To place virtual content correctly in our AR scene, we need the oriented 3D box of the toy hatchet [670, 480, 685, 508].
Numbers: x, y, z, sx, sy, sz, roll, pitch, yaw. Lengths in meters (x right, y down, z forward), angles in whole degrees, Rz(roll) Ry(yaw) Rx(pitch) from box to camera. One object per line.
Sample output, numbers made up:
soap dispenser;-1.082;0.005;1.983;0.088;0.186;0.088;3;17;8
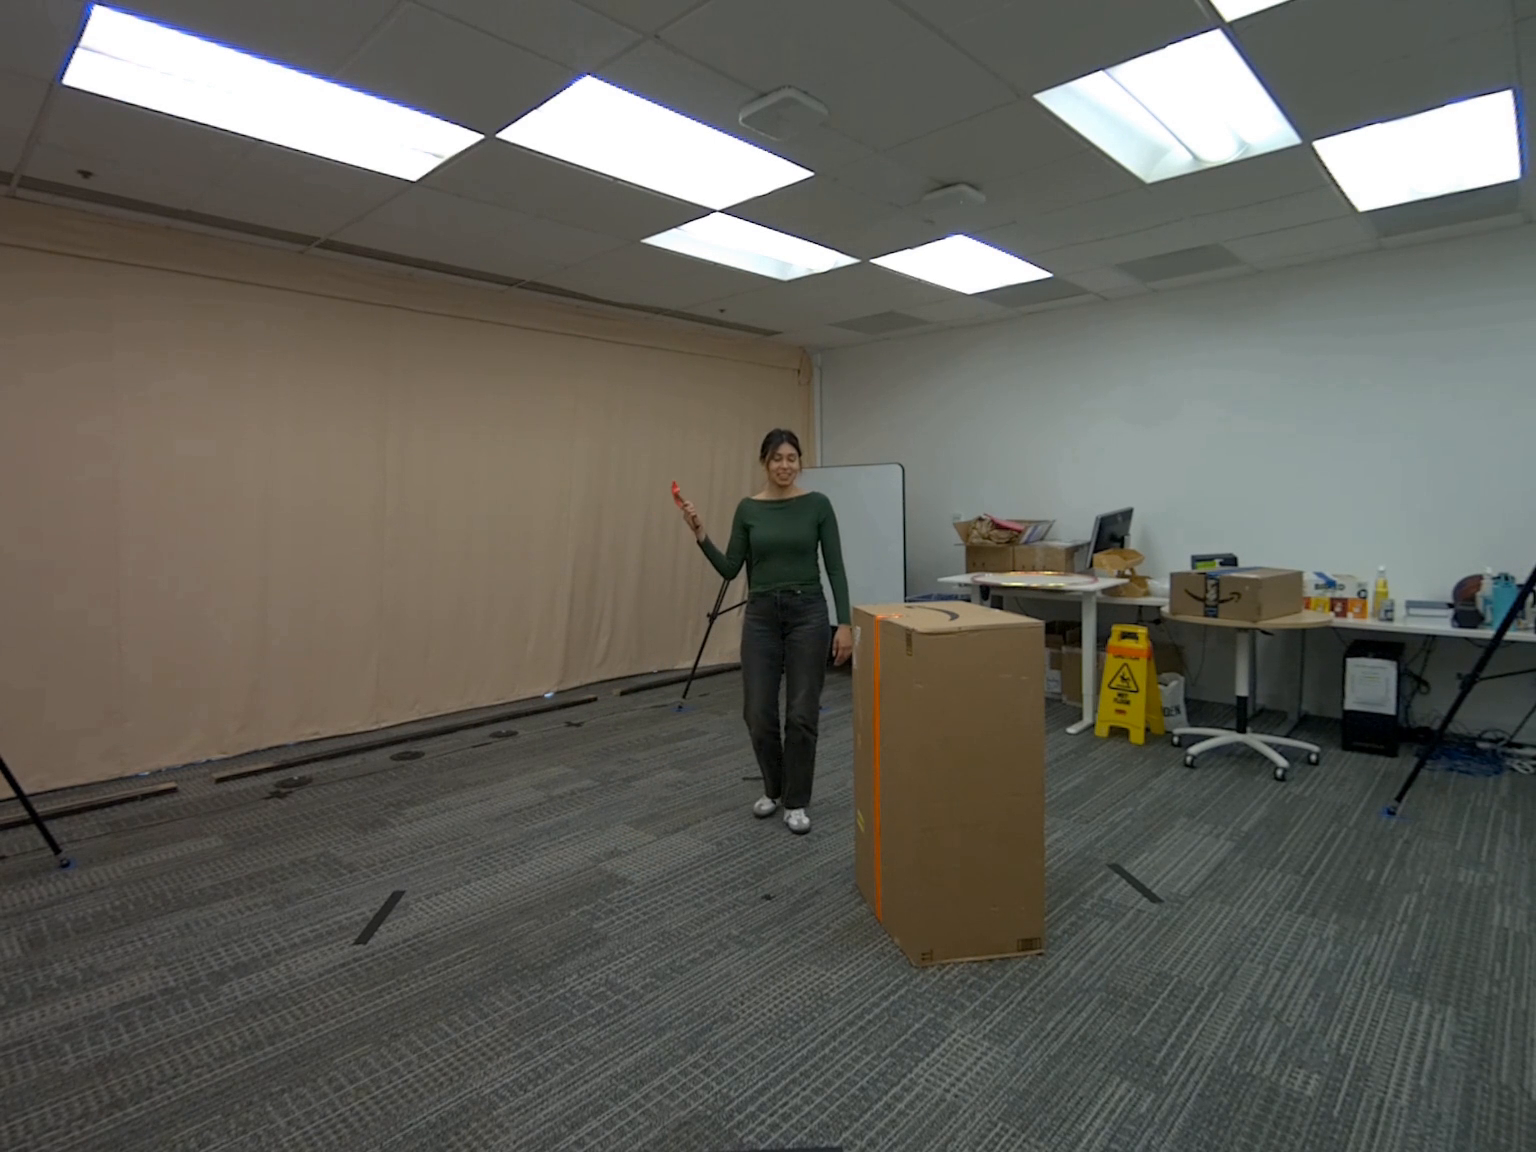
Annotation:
toy hatchet;-0.358;-0.285;3.689;0.029;0.277;0.129;-21;-28;-19
